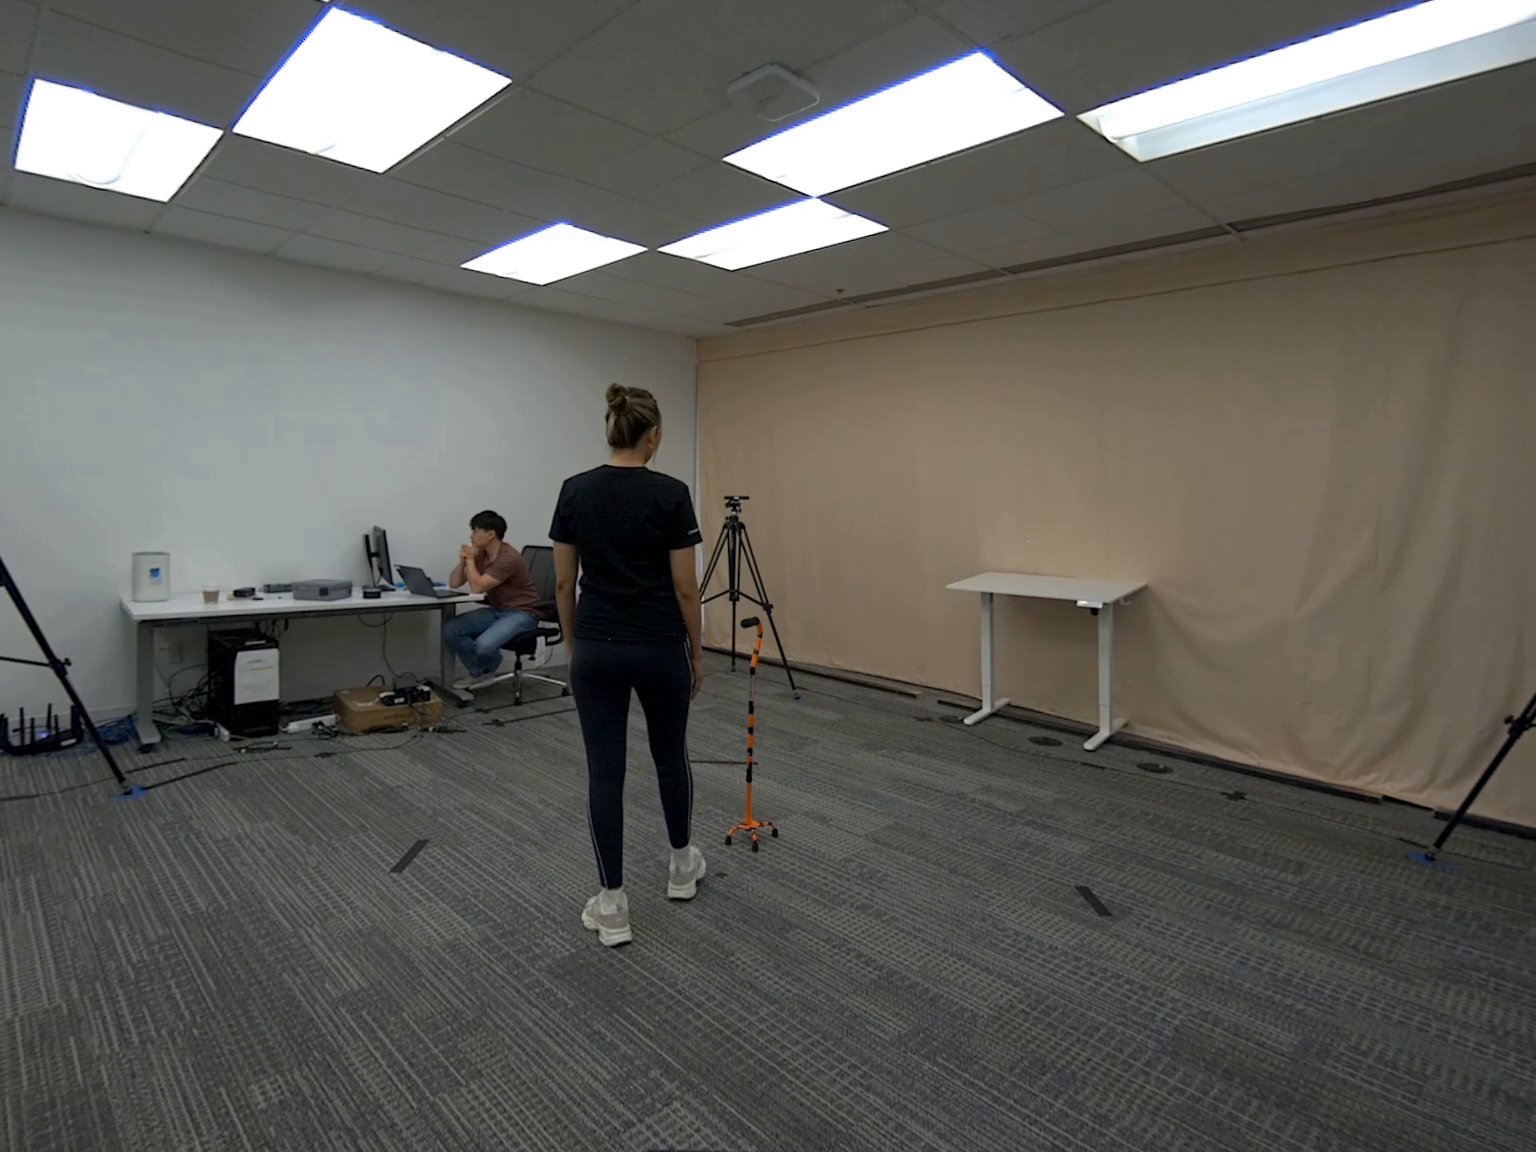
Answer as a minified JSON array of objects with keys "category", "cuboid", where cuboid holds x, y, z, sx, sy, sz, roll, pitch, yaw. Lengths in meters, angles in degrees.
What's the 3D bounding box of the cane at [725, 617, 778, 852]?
[{"category":"cane","cuboid":[-0.060,0.622,3.409,0.154,0.906,0.203,3,3,24]}]
